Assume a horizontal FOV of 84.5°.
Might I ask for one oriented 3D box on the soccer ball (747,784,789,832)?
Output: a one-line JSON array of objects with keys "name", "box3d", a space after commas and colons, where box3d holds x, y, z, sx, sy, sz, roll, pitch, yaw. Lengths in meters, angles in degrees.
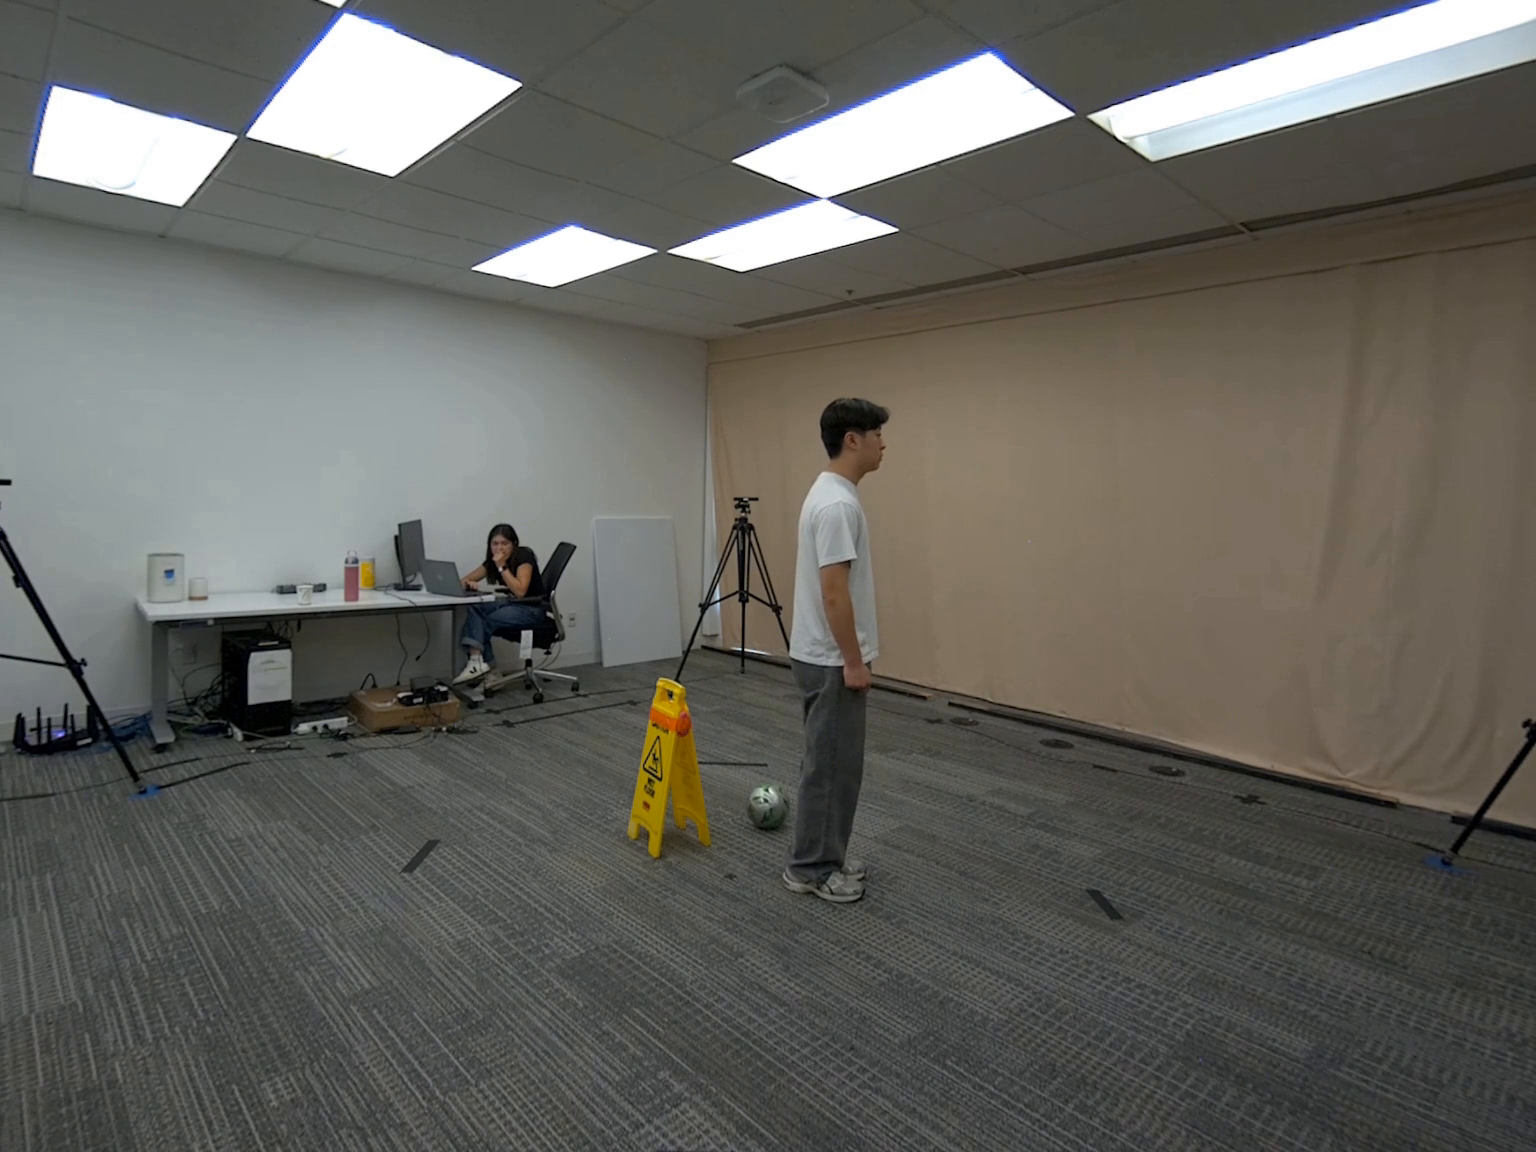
[{"name": "soccer ball", "box3d": [-0.015, 0.984, 3.578, 0.187, 0.187, 0.188, 1, 4, -1]}]
